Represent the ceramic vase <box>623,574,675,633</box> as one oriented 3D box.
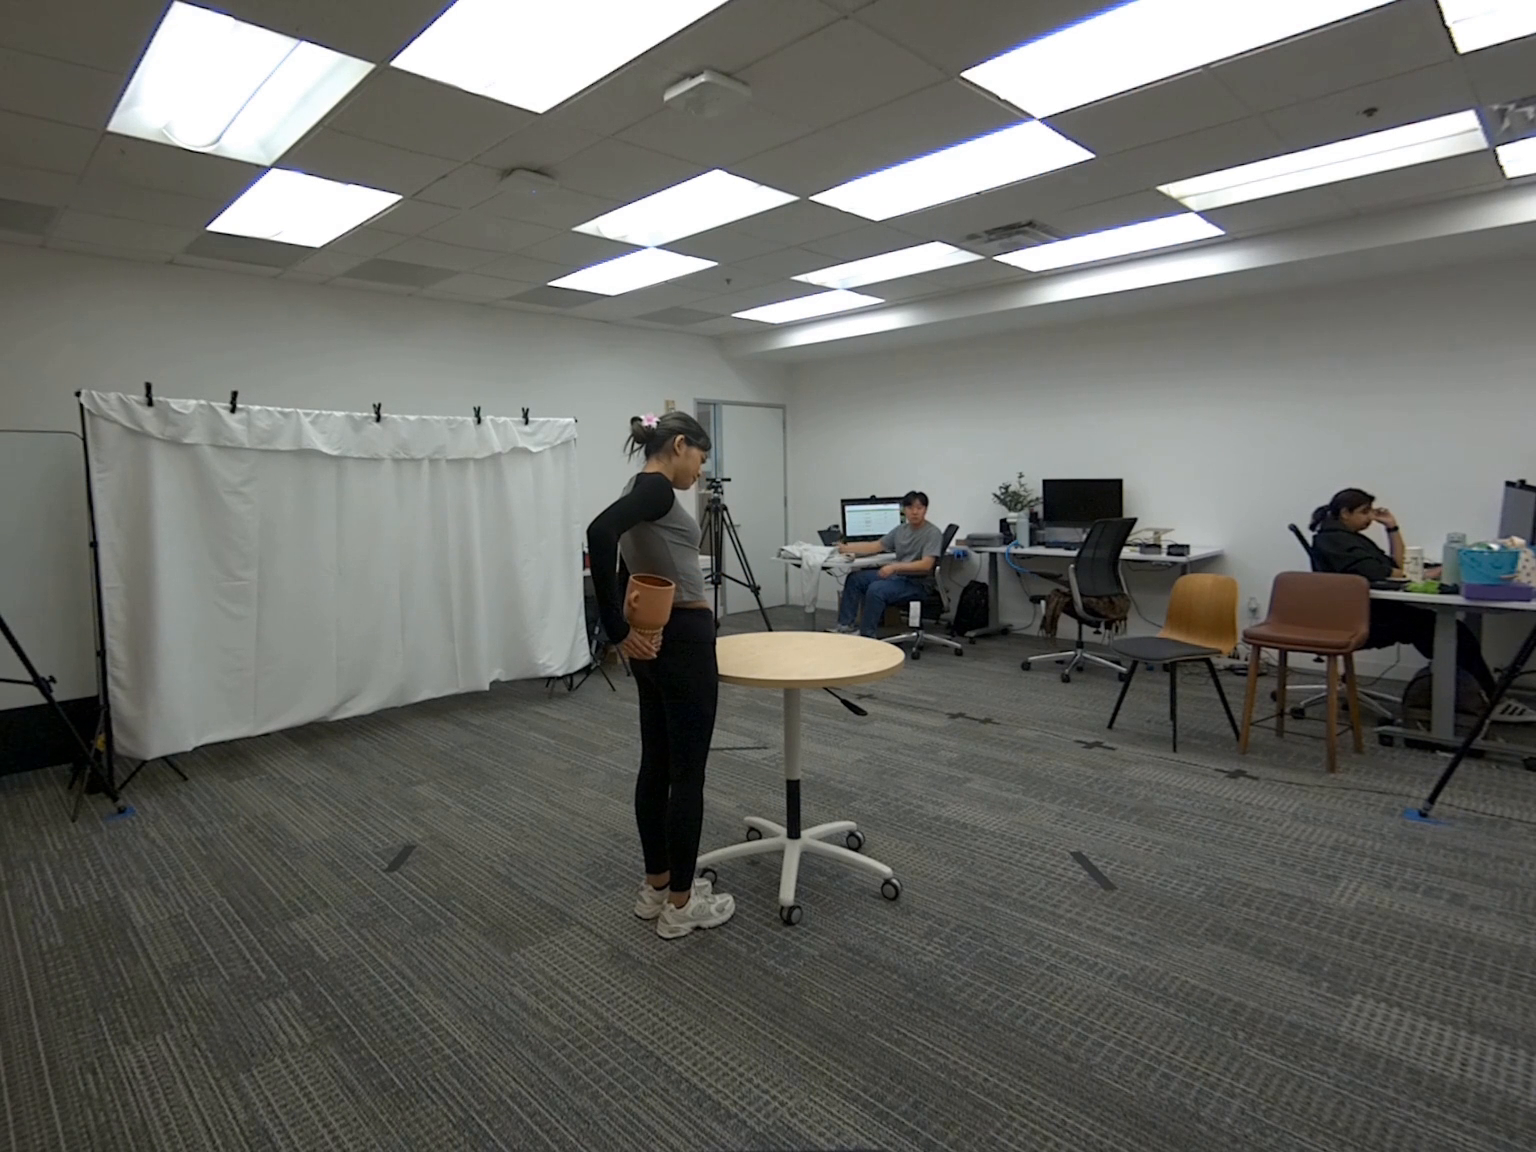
[{"bbox_3d":[-0.353,0.118,2.445,0.155,0.218,0.139,6,11,-23],"label":"ceramic vase"}]
